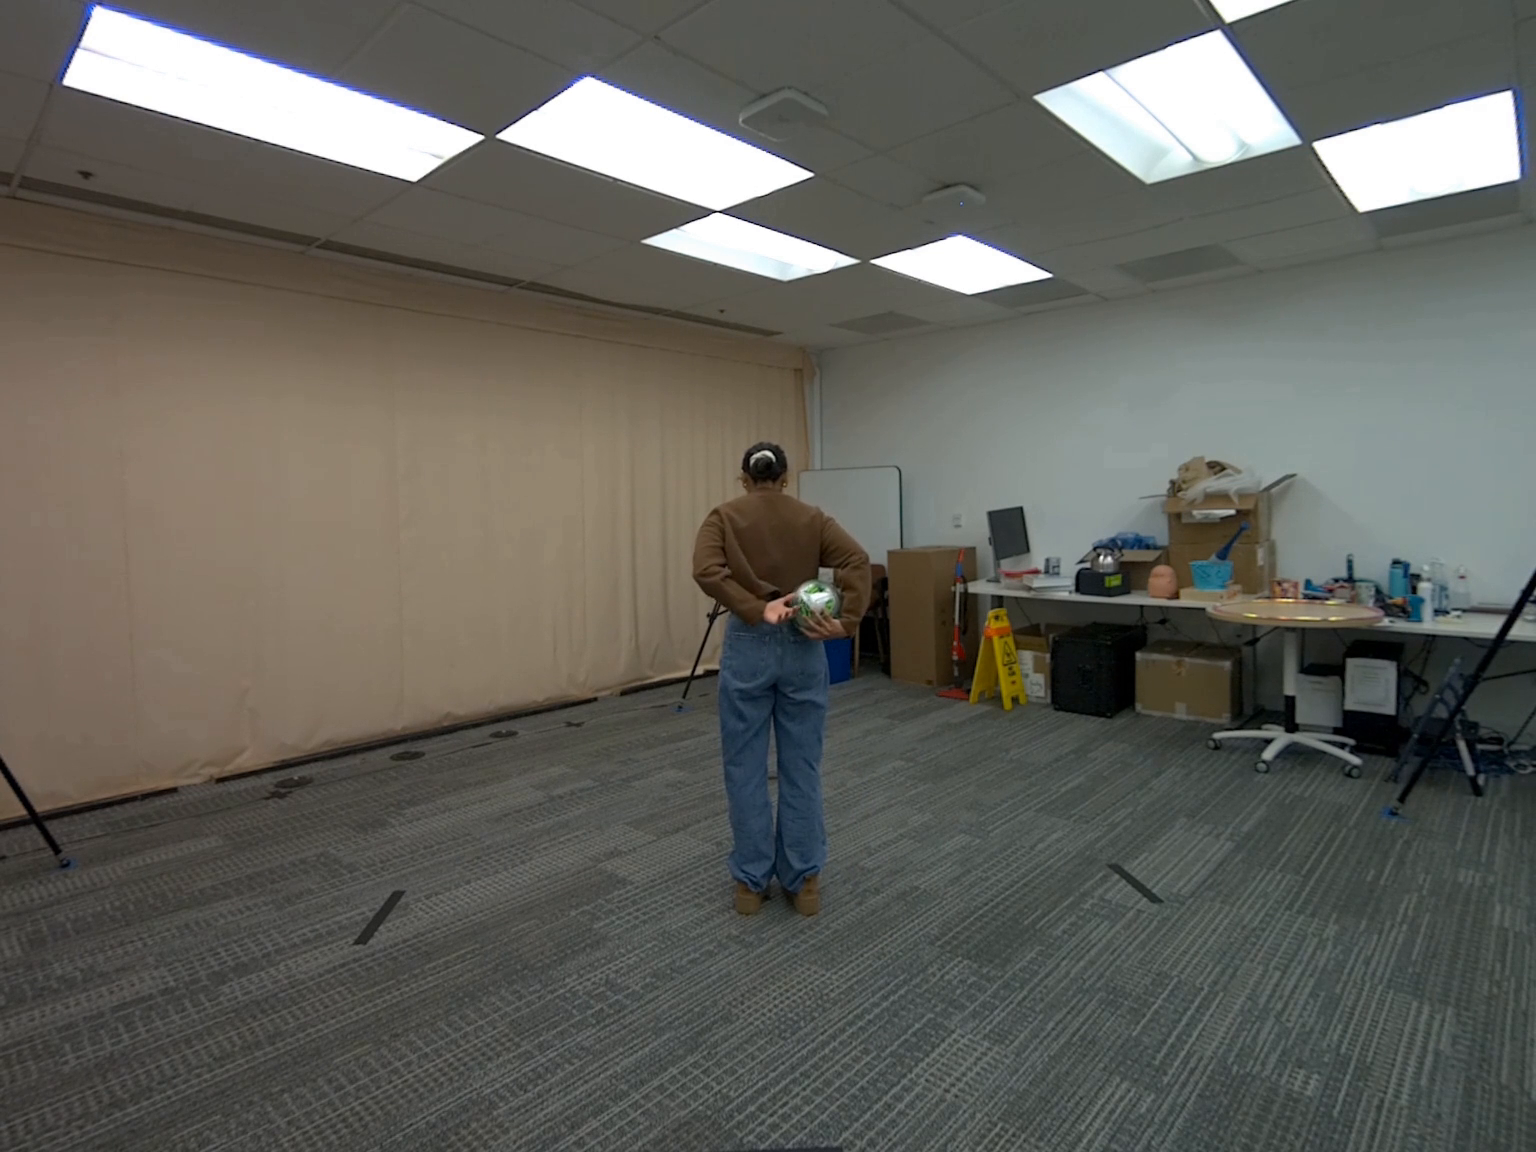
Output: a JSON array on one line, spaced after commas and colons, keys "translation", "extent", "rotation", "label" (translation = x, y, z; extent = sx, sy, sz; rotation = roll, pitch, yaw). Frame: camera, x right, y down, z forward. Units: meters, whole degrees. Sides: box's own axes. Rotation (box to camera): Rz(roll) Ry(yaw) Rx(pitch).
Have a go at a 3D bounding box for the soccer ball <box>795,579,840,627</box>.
[{"translation": [0.166, 0.107, 2.798], "extent": [0.187, 0.187, 0.188], "rotation": [-1, 4, -2], "label": "soccer ball"}]
